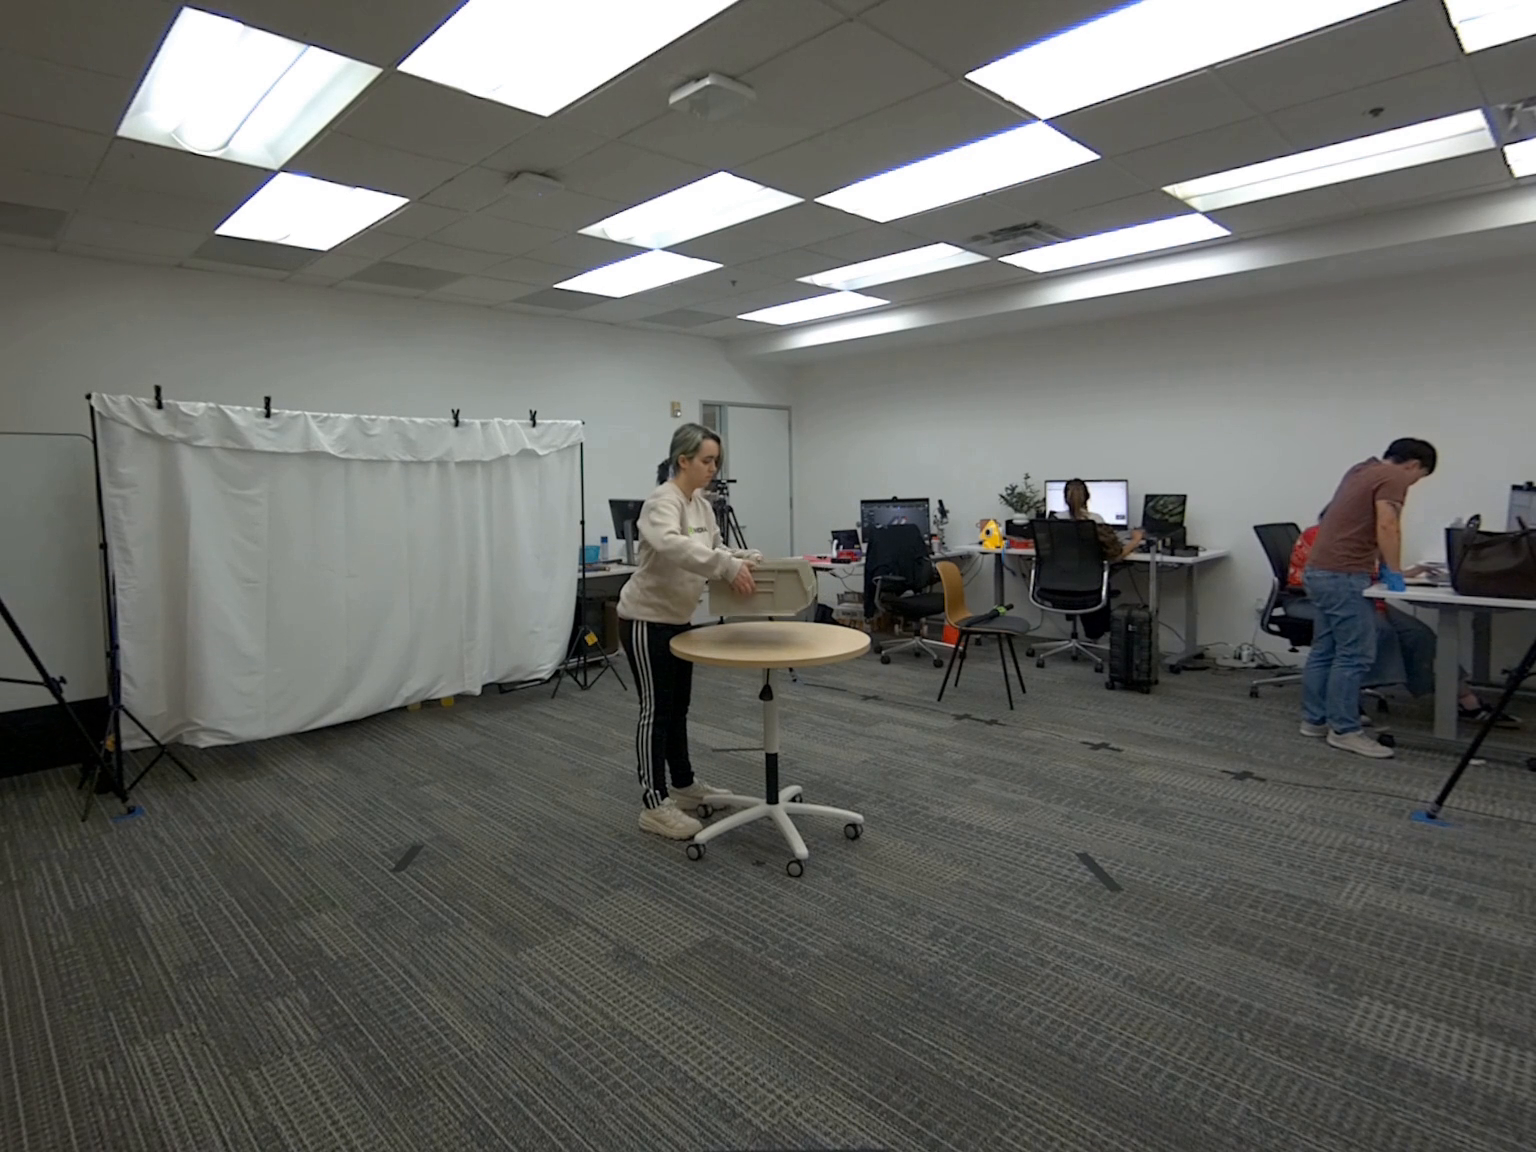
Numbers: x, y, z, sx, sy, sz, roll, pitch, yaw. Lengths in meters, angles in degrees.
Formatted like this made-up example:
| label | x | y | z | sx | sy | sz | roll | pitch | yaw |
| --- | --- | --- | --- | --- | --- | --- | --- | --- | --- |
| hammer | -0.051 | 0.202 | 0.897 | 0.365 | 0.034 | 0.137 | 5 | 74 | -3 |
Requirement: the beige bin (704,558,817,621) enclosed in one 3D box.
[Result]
| label | x | y | z | sx | sy | sz | roll | pitch | yaw |
| --- | --- | --- | --- | --- | --- | --- | --- | --- | --- |
| beige bin | -0.008 | 0.048 | 3.263 | 0.381 | 0.188 | 0.419 | -2 | 3 | 10 |
